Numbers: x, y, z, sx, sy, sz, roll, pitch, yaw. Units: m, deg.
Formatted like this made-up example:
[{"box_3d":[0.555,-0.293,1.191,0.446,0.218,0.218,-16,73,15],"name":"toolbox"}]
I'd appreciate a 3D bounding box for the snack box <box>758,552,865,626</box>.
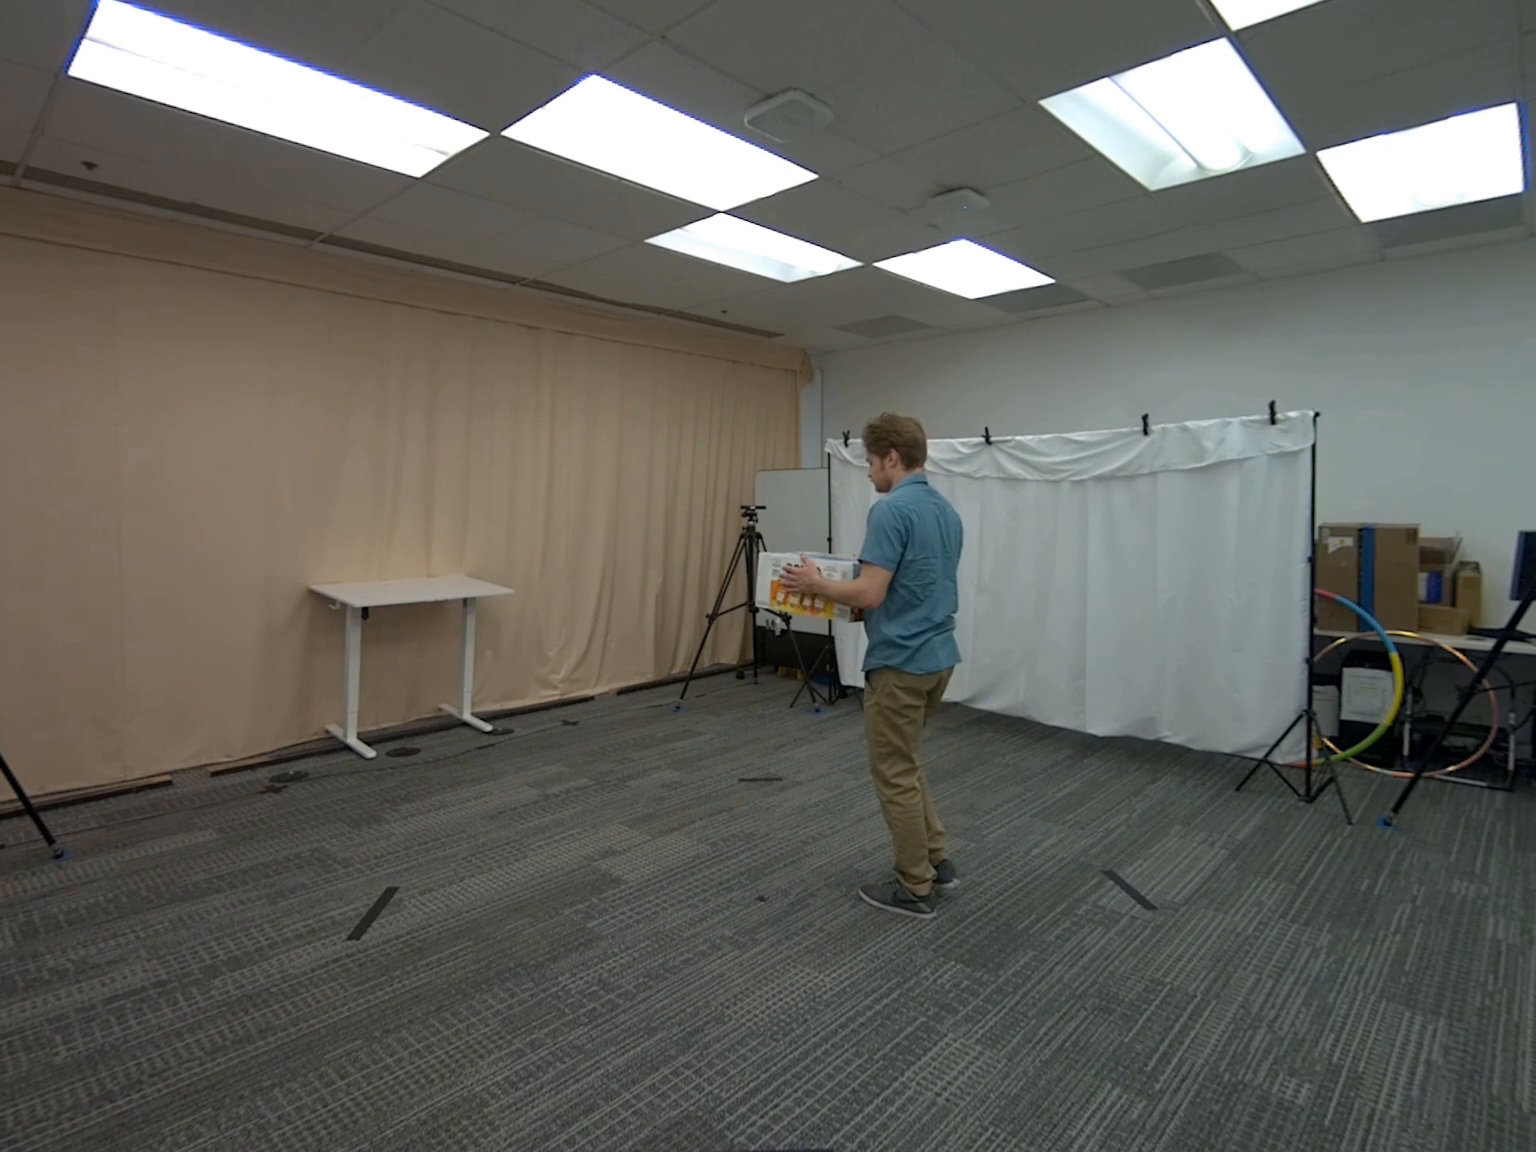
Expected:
[{"box_3d":[0.233,0.033,3.082,0.419,0.205,0.330,7,6,37],"name":"snack box"}]
